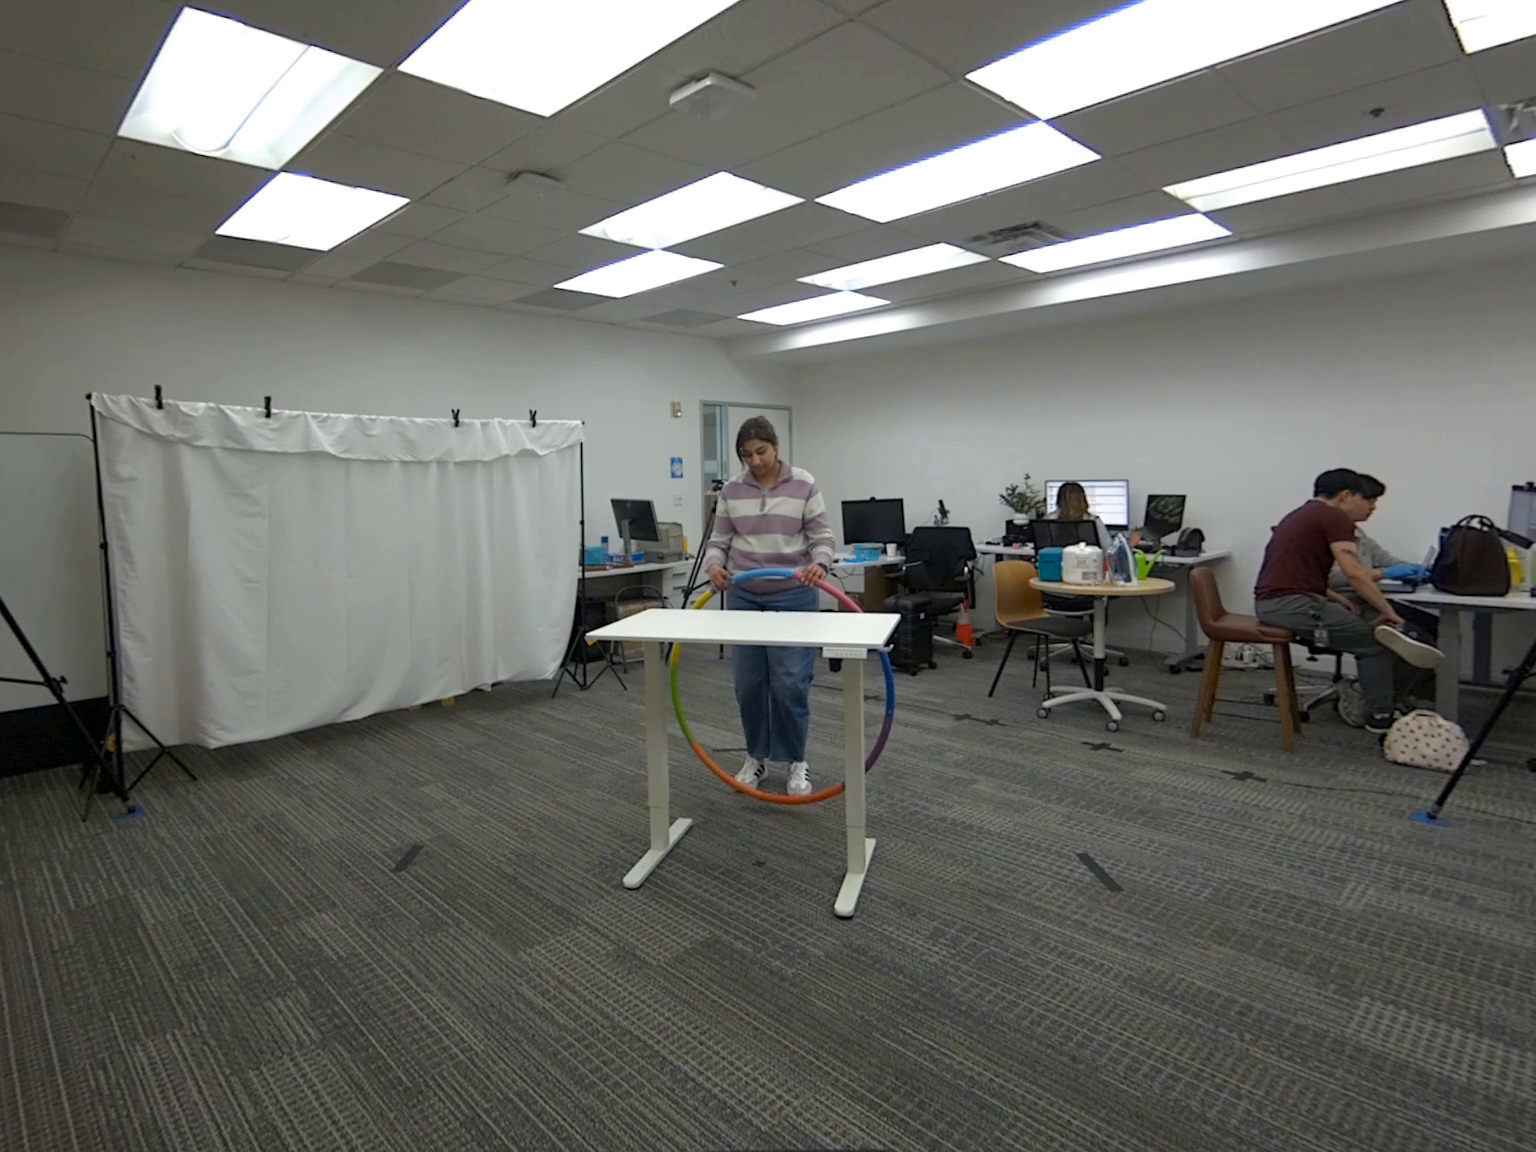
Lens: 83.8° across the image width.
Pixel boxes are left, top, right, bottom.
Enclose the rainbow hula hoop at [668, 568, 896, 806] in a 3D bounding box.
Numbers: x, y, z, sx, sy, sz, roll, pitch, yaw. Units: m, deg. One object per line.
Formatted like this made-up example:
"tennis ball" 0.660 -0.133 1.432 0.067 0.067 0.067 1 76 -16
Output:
"rainbow hula hoop" 0.041 0.472 3.549 0.997 0.973 0.035 1 6 20
